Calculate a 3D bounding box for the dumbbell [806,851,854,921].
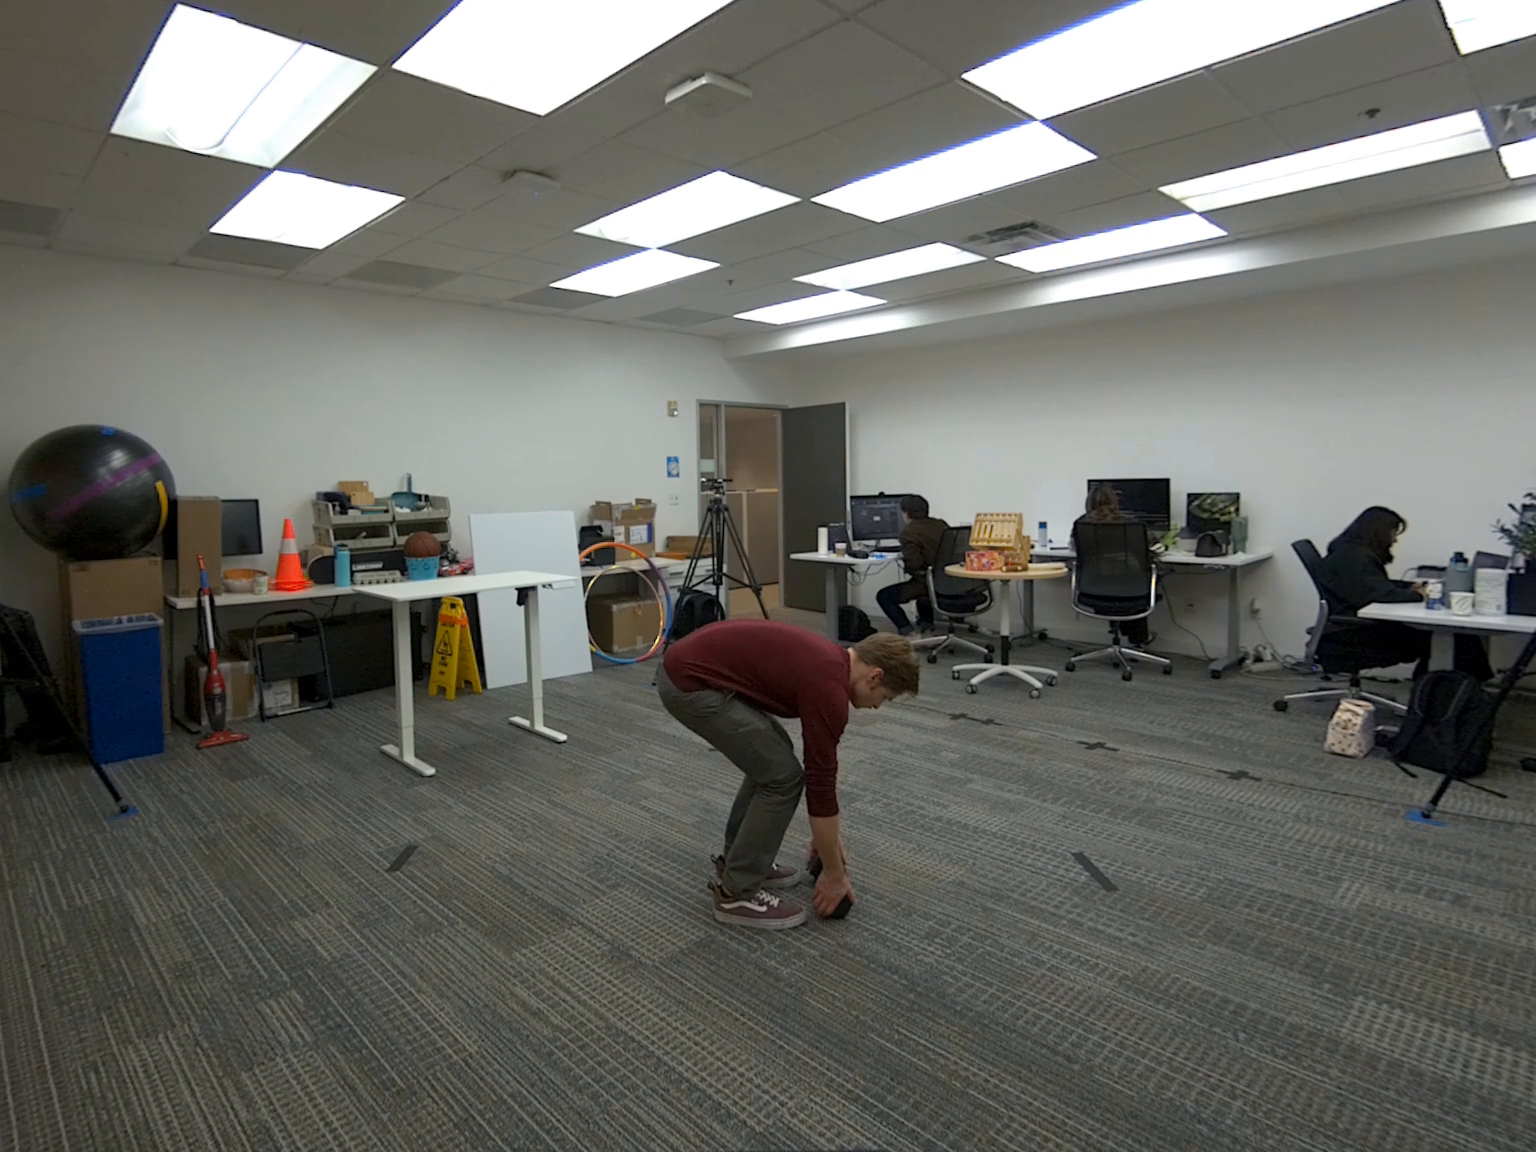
[{"bbox_3d":[0.215,1.022,2.837,0.109,0.122,0.294,-29,6,3],"label":"dumbbell"}]
